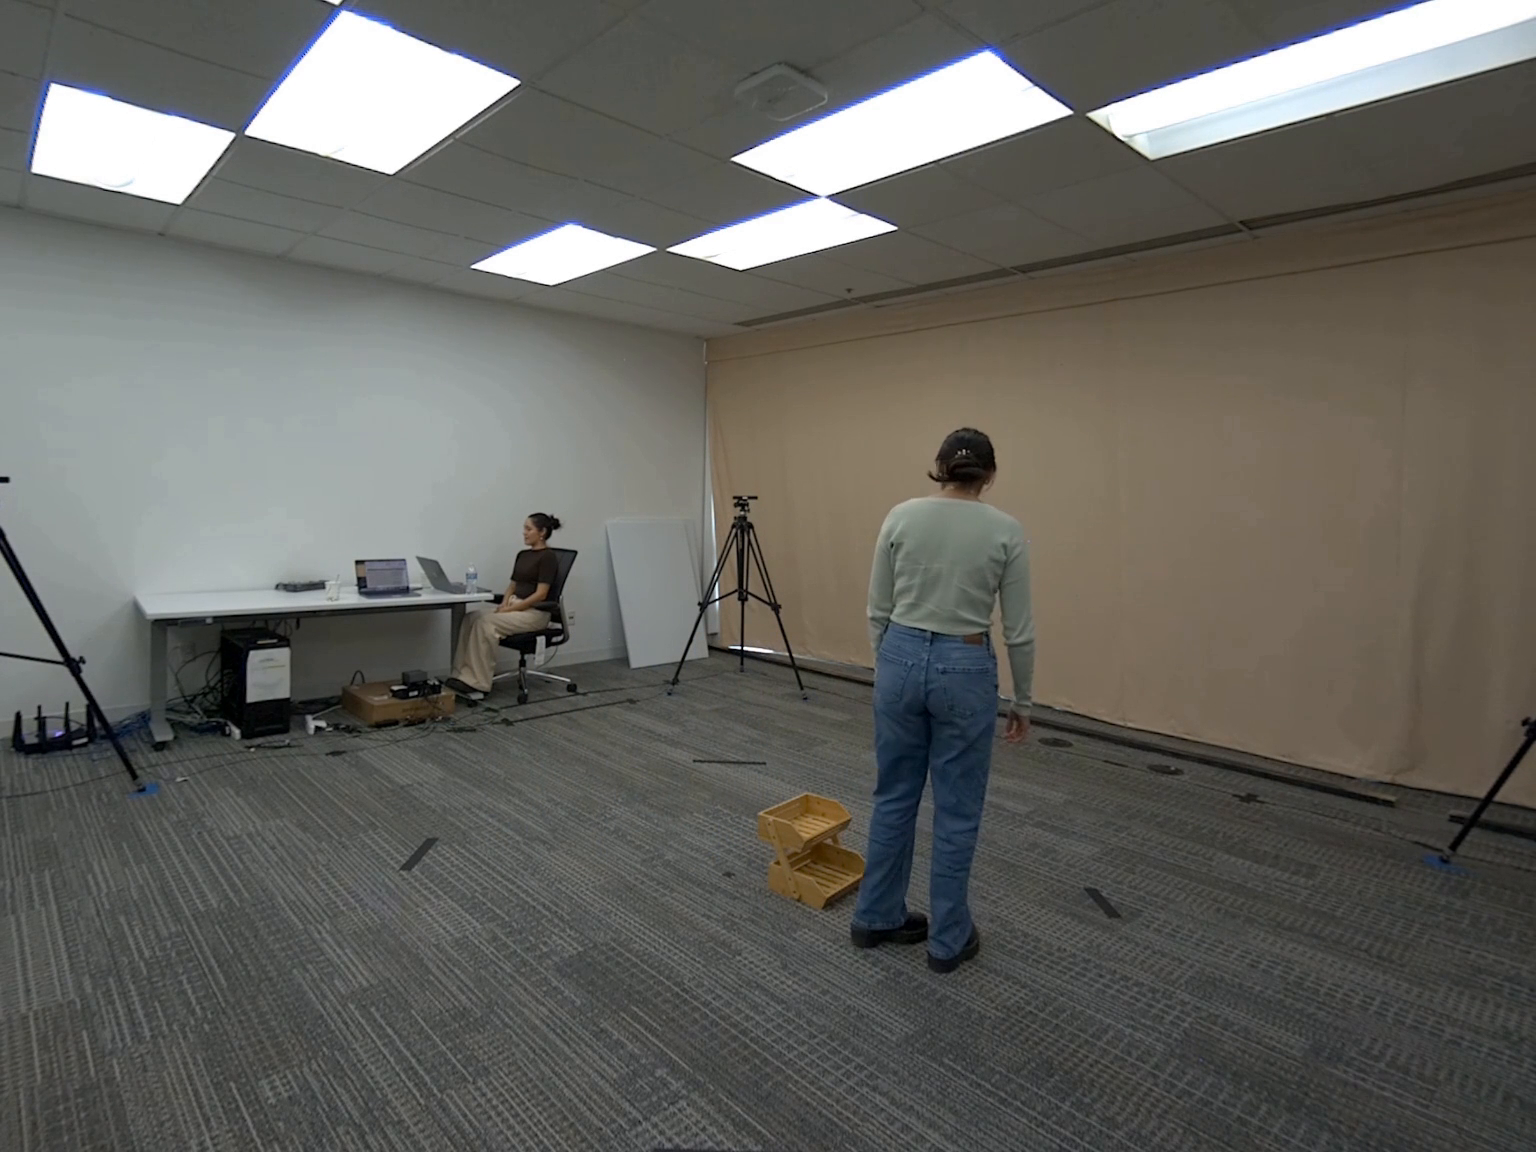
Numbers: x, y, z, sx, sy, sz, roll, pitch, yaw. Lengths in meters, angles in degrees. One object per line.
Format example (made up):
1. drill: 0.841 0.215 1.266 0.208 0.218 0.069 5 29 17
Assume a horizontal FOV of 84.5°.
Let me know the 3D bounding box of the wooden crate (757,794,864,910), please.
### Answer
1. wooden crate: 0.167 0.982 3.042 0.309 0.273 0.317 3 5 39
